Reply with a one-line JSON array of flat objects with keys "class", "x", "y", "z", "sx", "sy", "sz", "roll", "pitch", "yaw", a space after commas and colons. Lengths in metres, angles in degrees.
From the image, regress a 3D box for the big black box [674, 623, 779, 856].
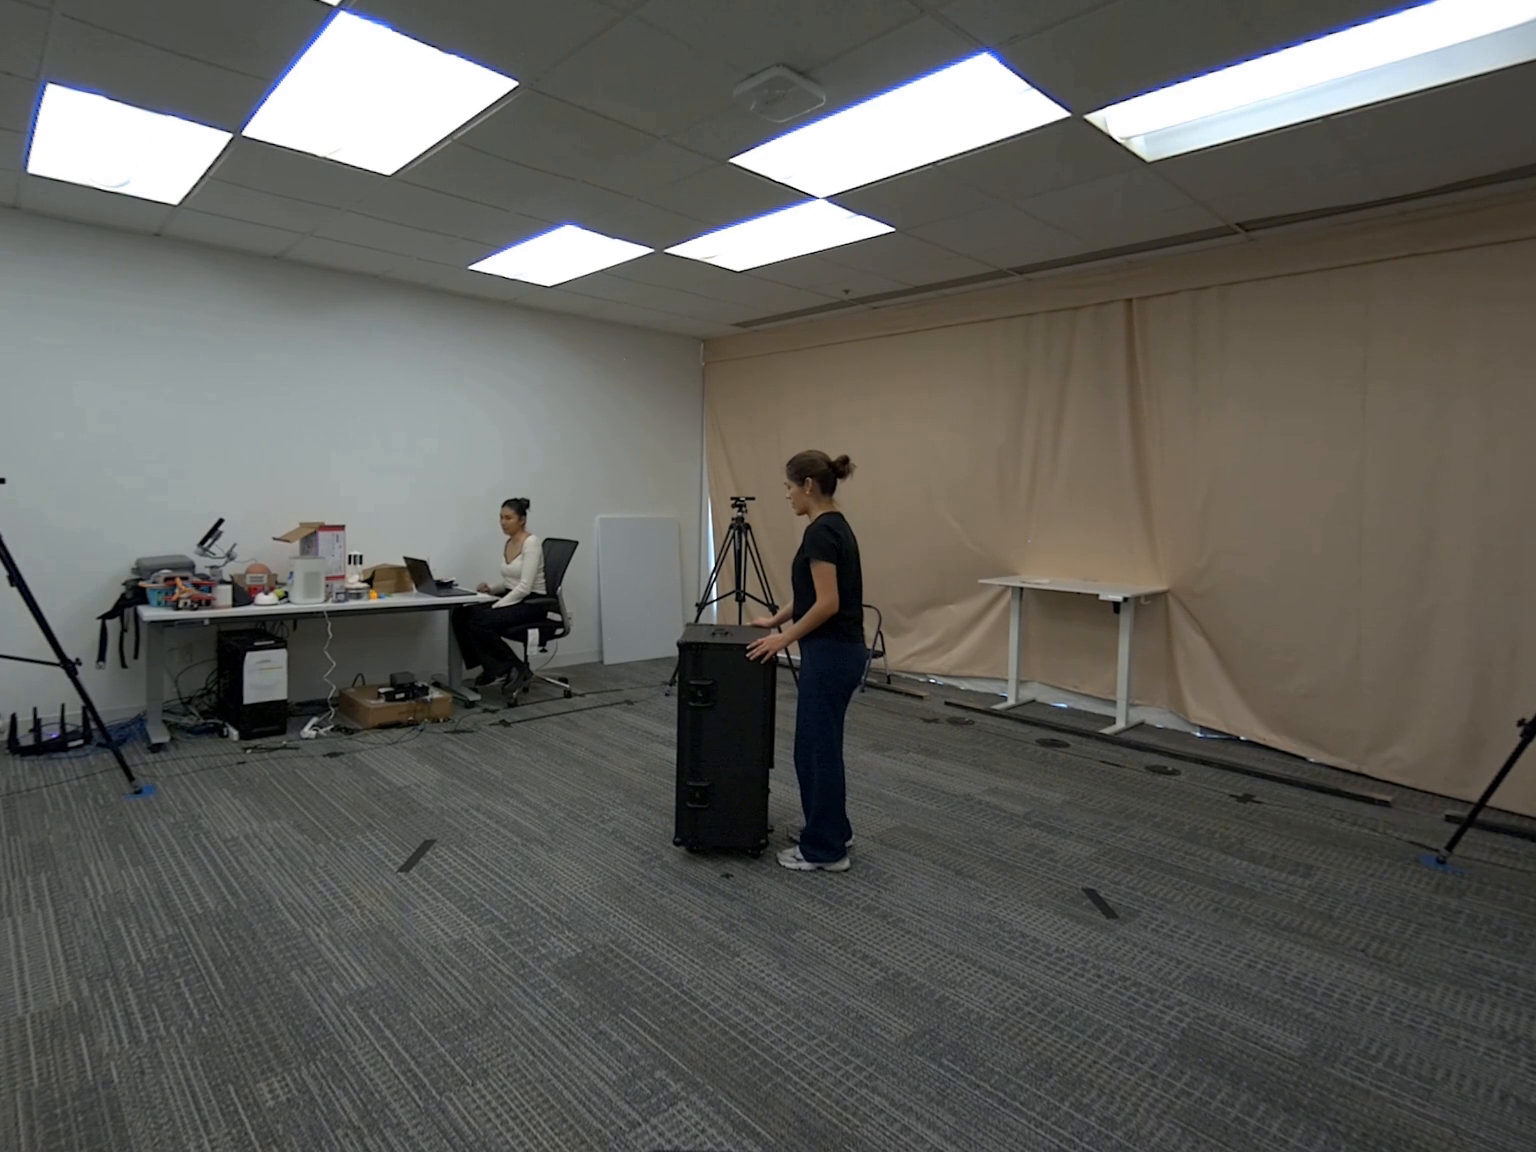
[{"class": "big black box", "x": -0.167, "y": 0.653, "z": 3.406, "sx": 0.396, "sy": 0.859, "sz": 0.522, "roll": 2, "pitch": 3, "yaw": 0}]
